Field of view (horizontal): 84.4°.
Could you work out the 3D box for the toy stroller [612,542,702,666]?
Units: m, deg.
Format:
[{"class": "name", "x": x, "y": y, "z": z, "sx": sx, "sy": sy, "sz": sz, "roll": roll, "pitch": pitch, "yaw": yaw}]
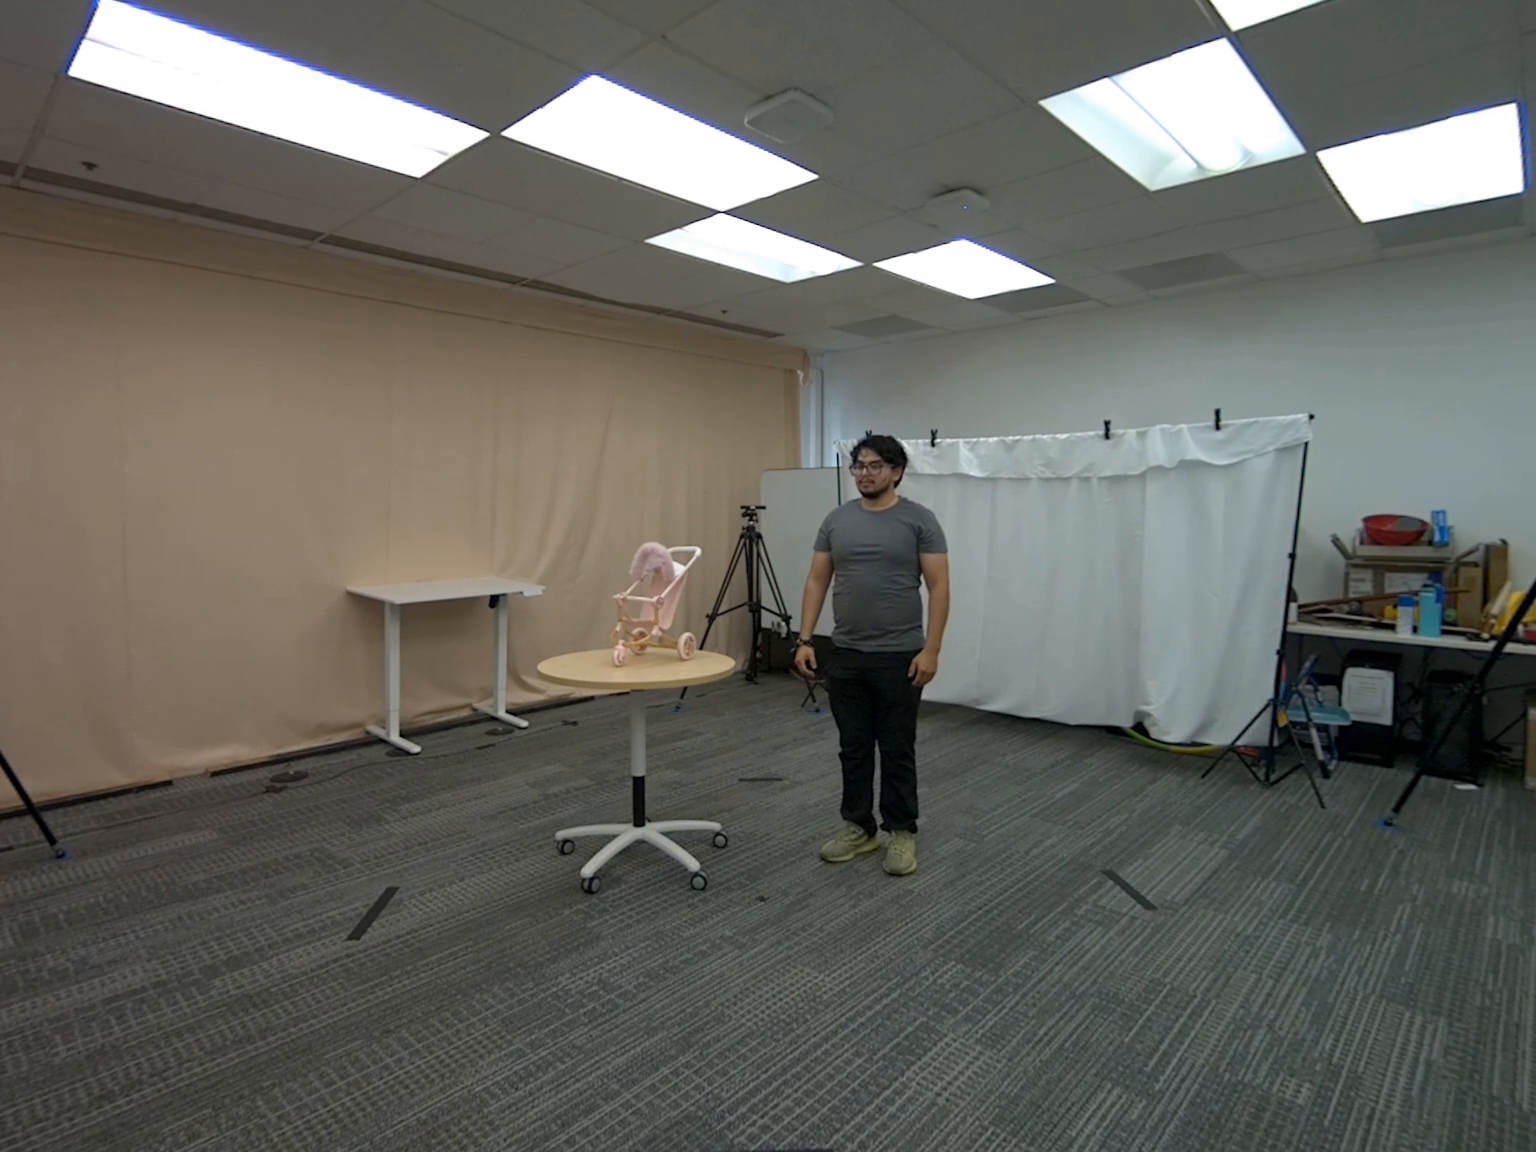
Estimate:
[{"class": "toy stroller", "x": -0.468, "y": 0.111, "z": 3.368, "sx": 0.290, "sy": 0.537, "sz": 0.329, "roll": 1, "pitch": -12, "yaw": 39}]
